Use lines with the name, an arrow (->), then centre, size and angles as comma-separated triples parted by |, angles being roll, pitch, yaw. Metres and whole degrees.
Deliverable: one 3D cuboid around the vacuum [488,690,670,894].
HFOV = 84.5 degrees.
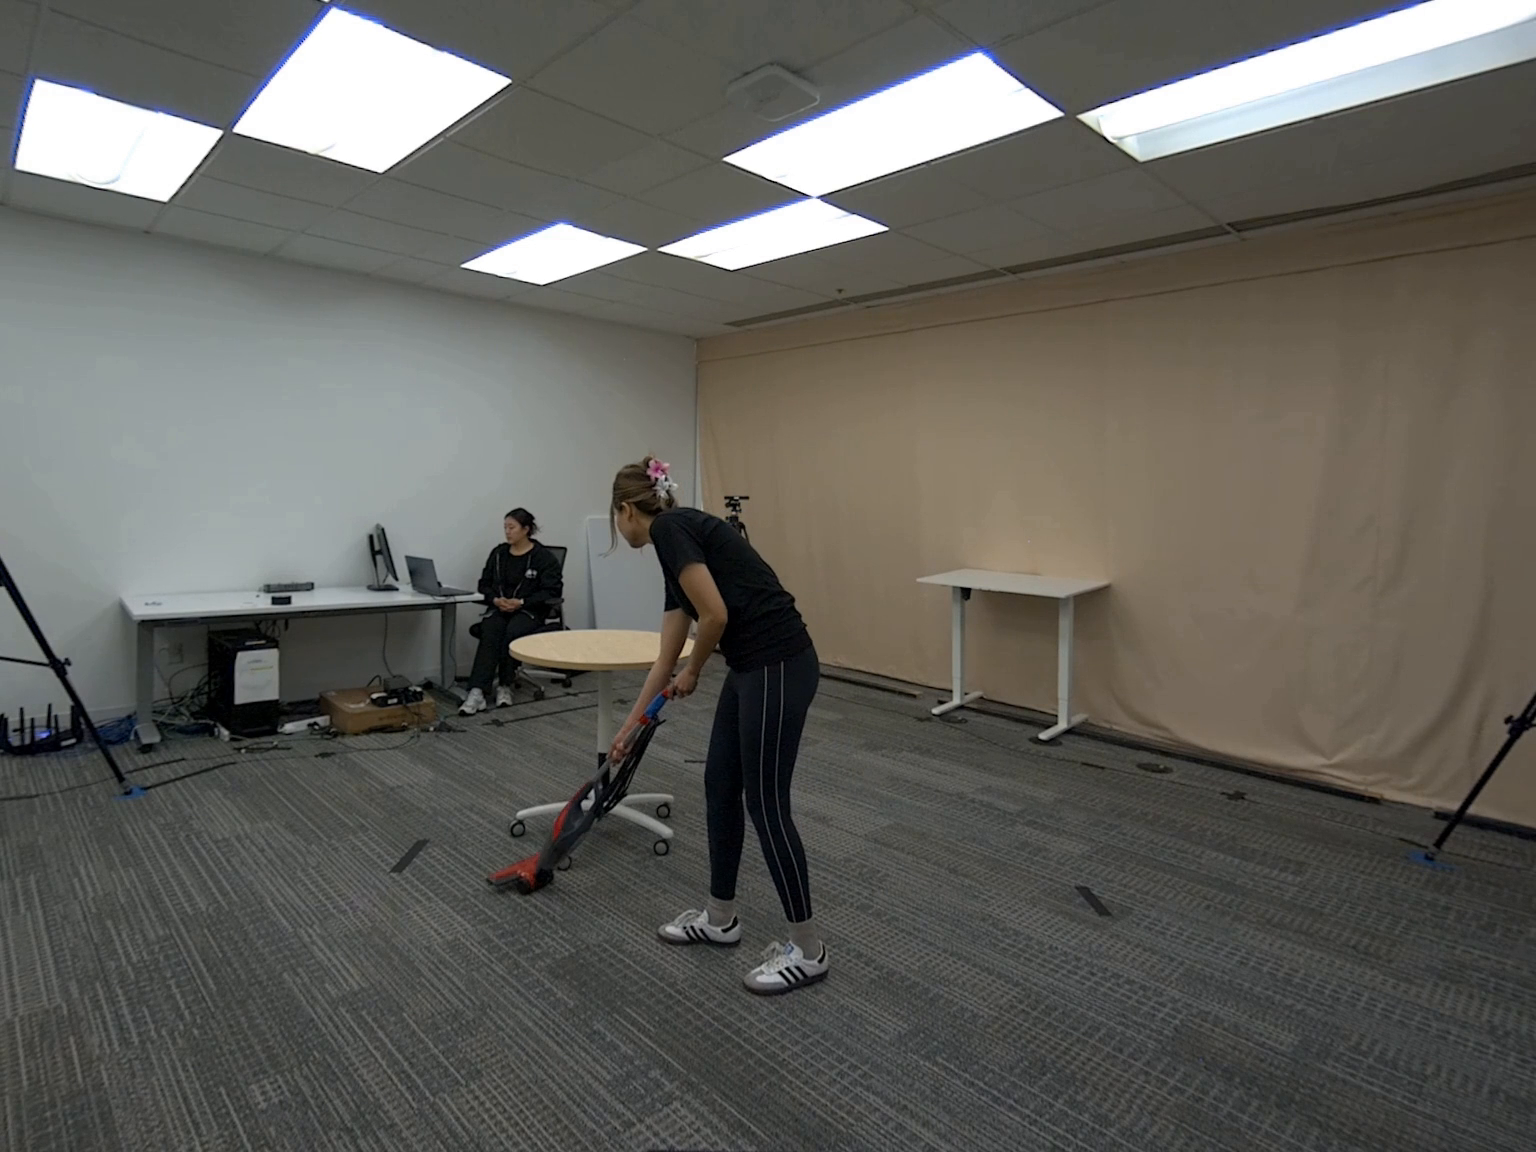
vacuum -> -0.563, 0.717, 2.782 | 0.147, 1.047, 0.247 | 49, 25, 20
